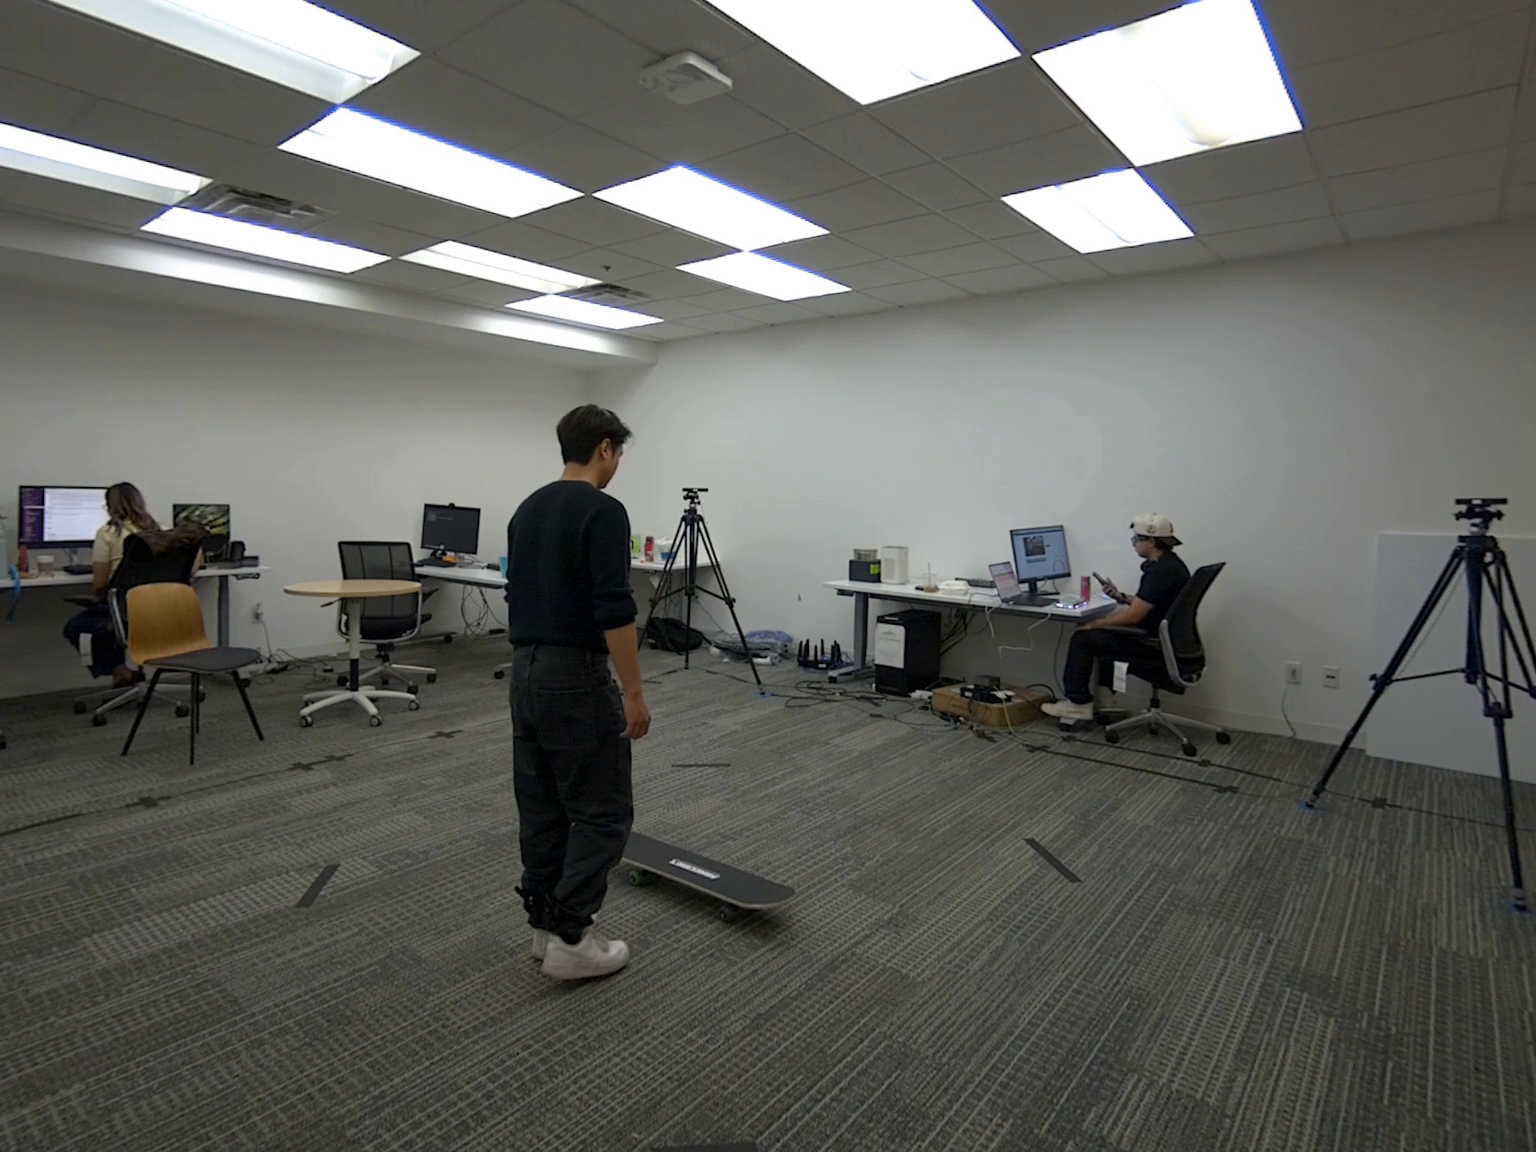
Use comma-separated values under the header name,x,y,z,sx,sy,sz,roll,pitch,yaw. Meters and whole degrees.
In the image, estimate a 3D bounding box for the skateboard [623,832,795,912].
name,x,y,z,sx,sy,sz,roll,pitch,yaw
skateboard,-0.266,1.028,2.910,0.811,0.110,0.188,5,6,36
